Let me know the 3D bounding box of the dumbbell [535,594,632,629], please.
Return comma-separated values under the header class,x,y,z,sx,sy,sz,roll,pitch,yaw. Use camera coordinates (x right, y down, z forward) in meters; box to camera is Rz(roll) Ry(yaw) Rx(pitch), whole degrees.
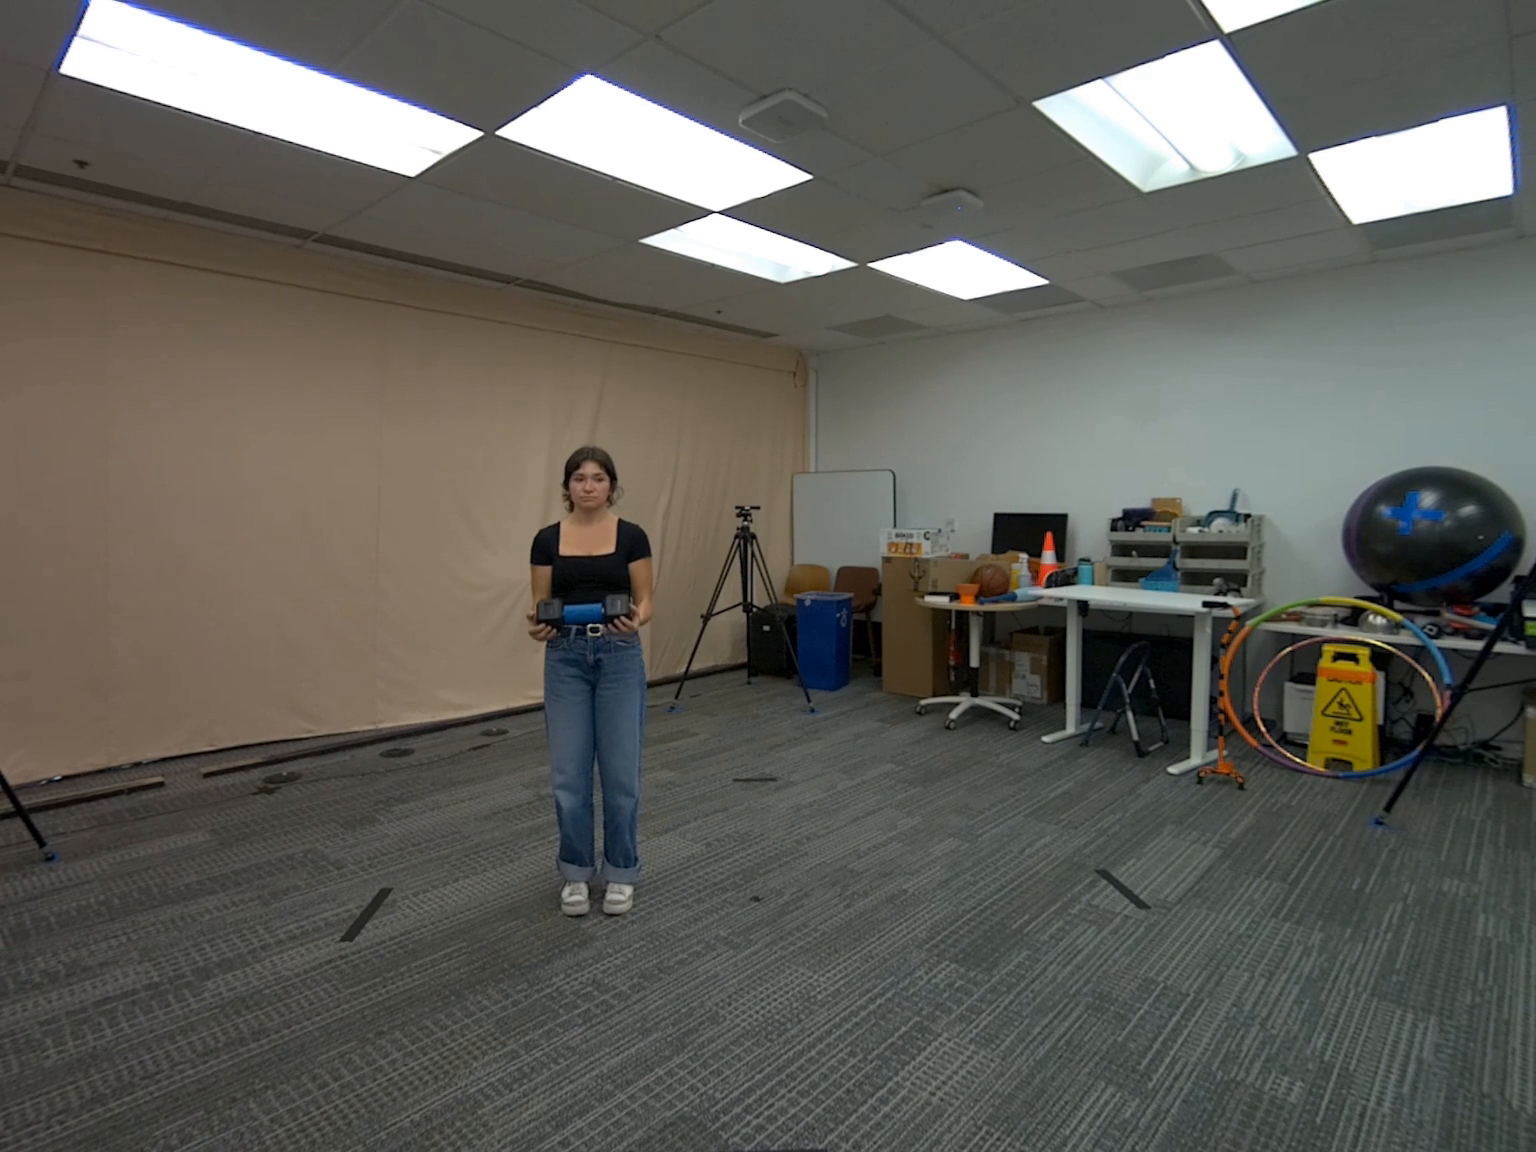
class,x,y,z,sx,sy,sz,roll,pitch,yaw
dumbbell,-0.602,0.119,2.703,0.292,0.121,0.111,-3,39,-4
